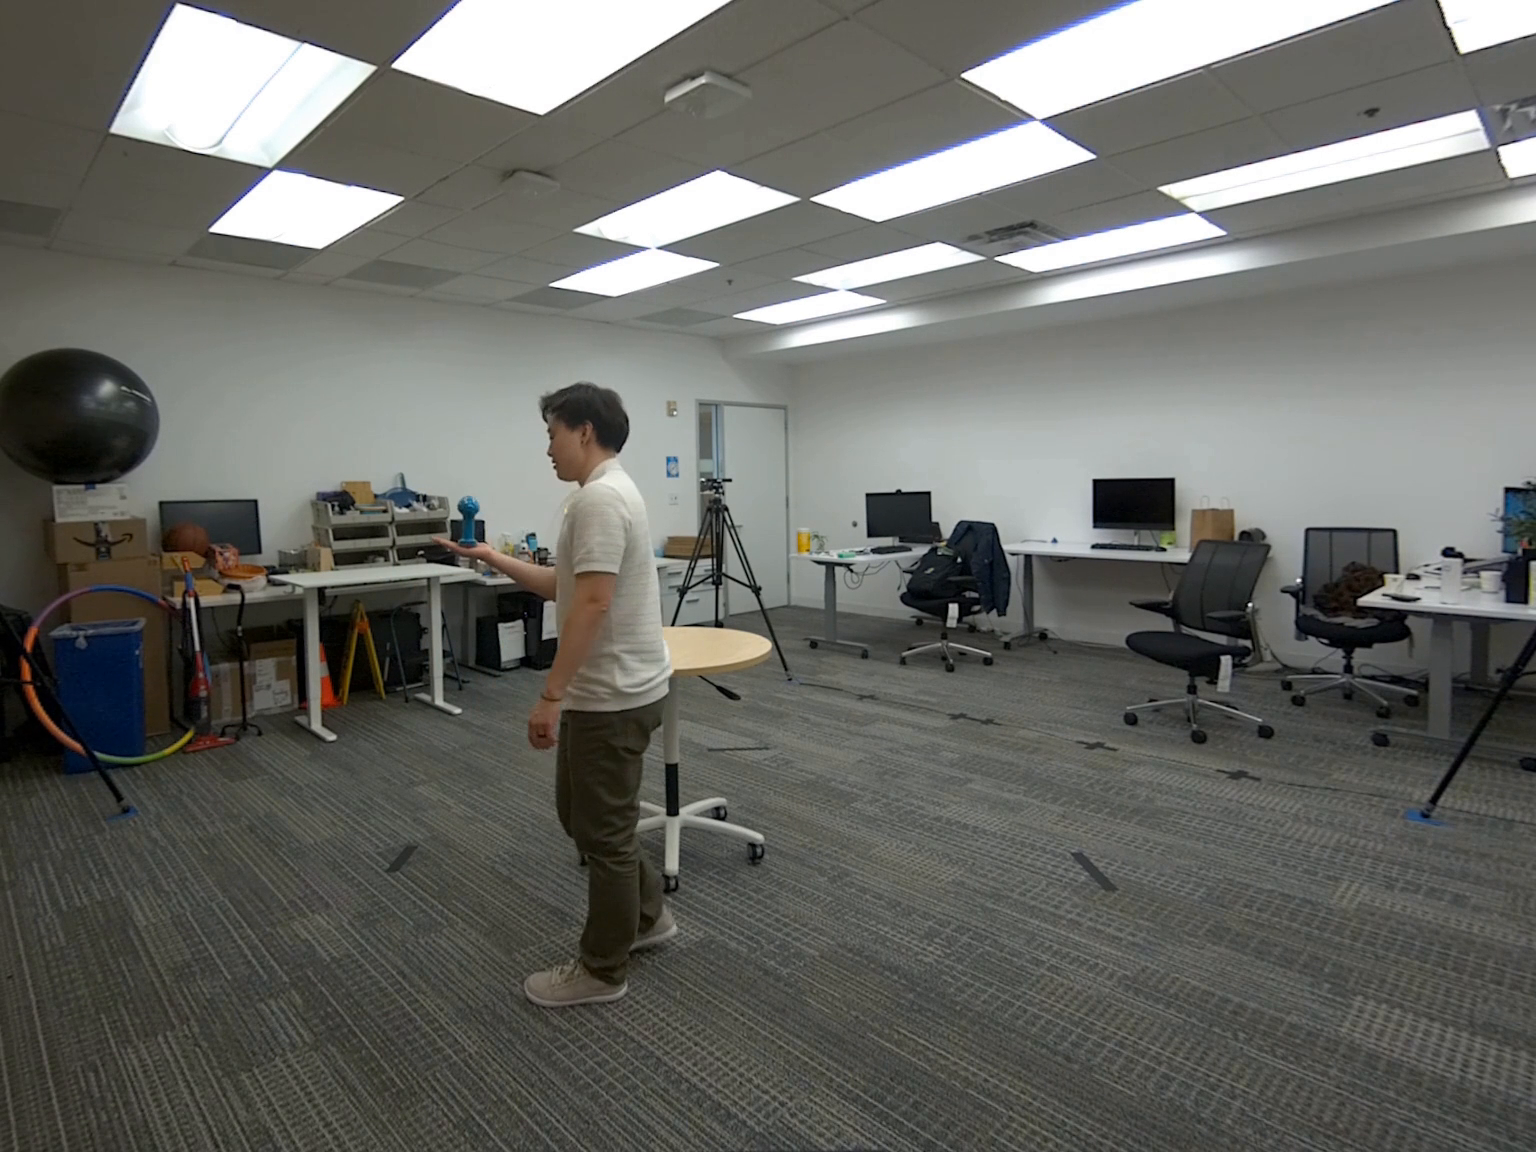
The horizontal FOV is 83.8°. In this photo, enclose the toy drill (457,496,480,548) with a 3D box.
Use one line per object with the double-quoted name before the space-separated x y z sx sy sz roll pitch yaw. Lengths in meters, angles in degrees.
"toy drill" -0.872 -0.169 2.504 0.060 0.145 0.174 2 9 -23
